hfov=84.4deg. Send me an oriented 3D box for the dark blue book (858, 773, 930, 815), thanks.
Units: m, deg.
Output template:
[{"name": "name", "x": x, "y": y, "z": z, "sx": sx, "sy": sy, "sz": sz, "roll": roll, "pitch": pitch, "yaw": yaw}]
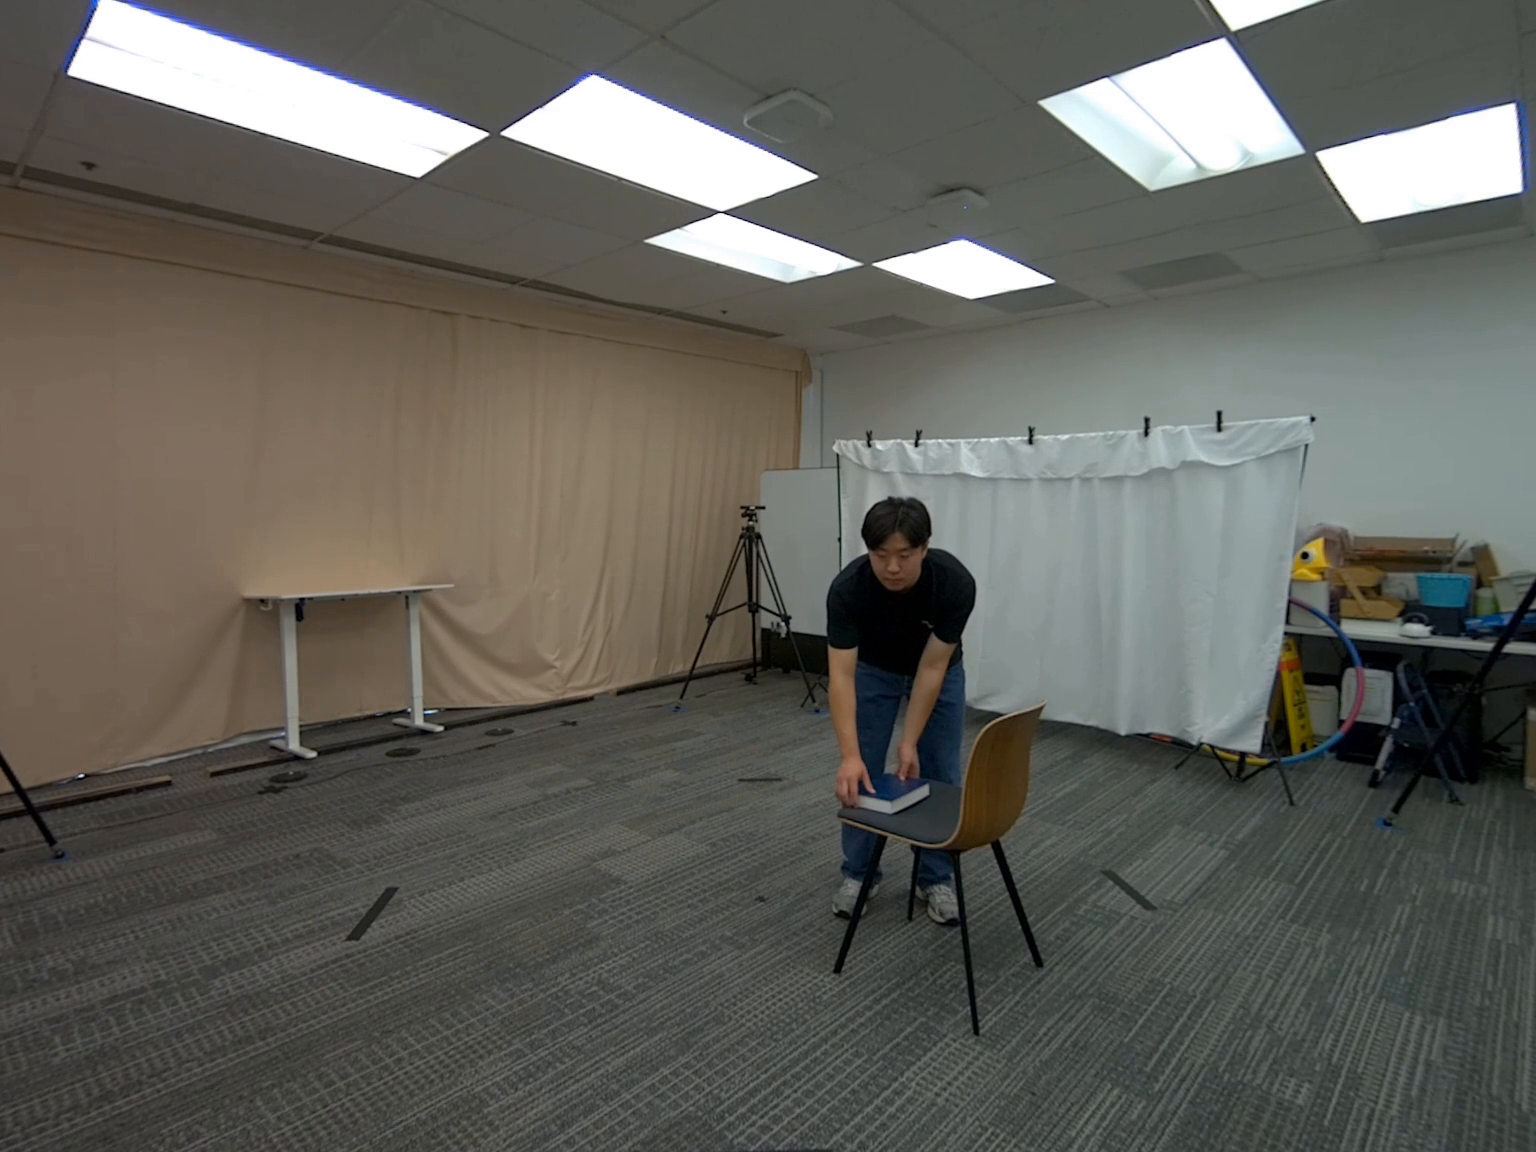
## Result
[{"name": "dark blue book", "x": 0.382, "y": 0.675, "z": 2.592, "sx": 0.168, "sy": 0.045, "sz": 0.238, "roll": 0, "pitch": 3, "yaw": 39}]
